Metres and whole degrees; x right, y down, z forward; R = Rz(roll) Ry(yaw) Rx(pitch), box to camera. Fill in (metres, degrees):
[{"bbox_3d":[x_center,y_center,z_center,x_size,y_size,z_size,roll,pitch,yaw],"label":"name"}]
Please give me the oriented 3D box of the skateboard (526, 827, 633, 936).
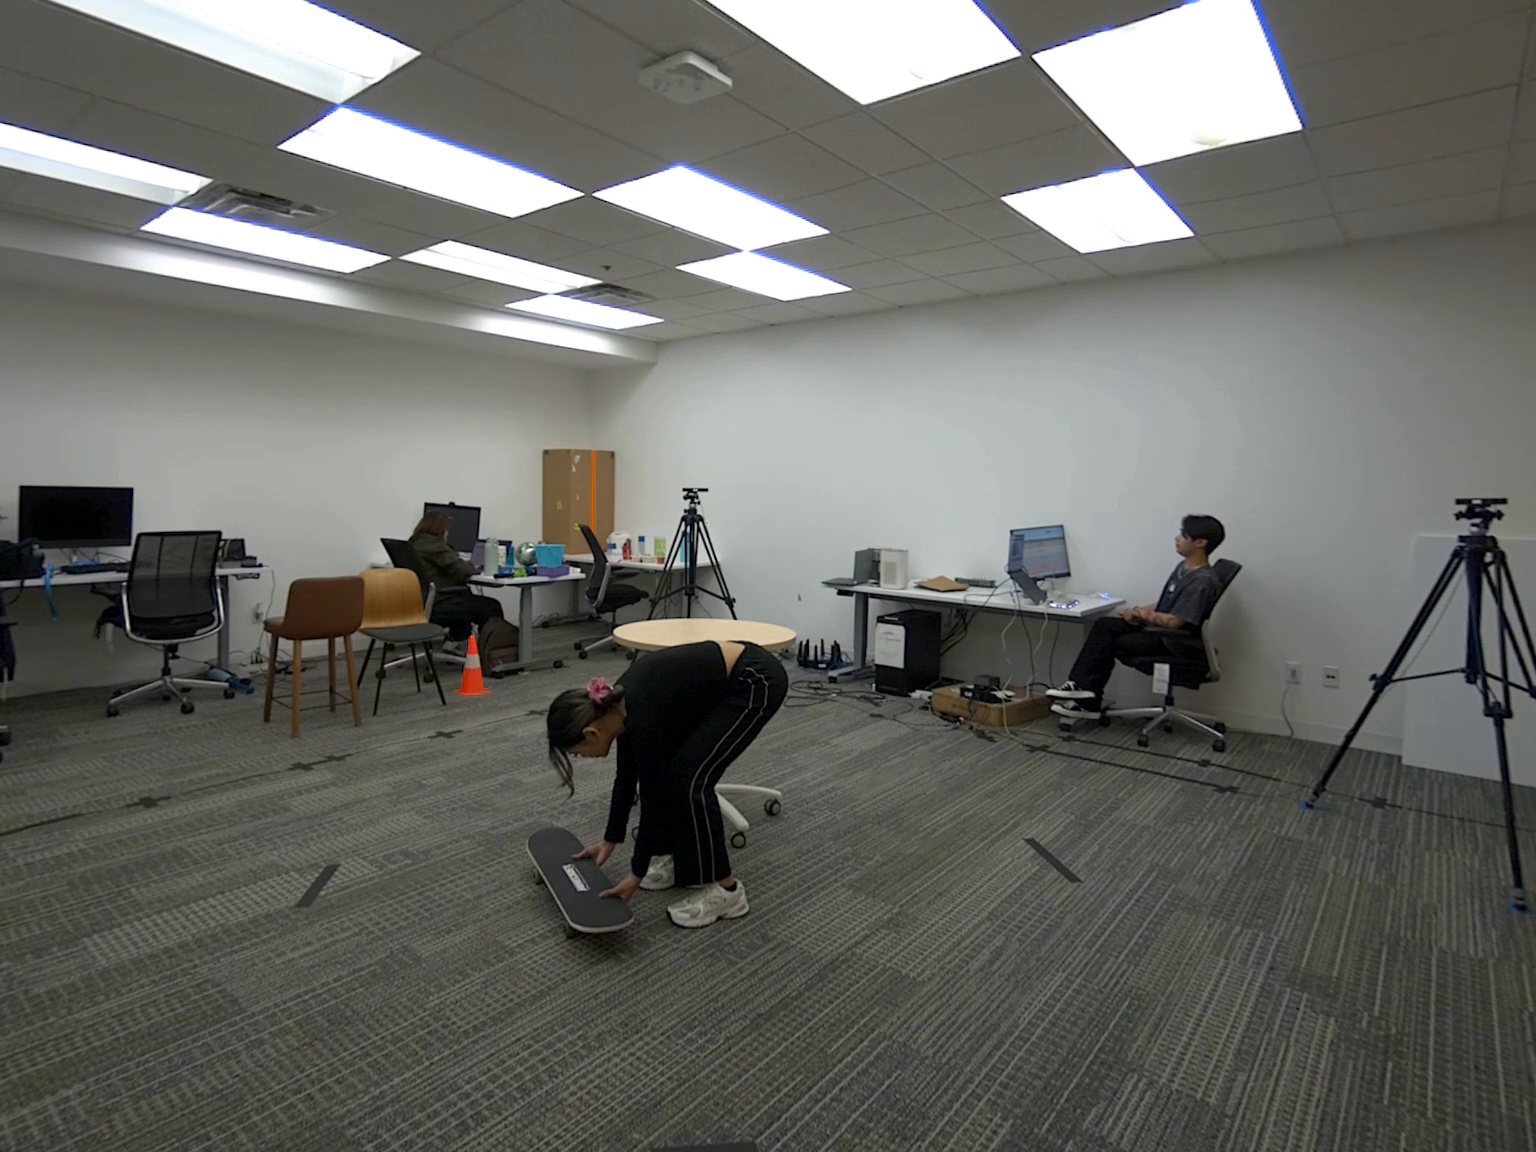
[{"bbox_3d":[-0.643,1.025,2.834,0.188,0.110,0.808,-1,6,-28],"label":"skateboard"}]
